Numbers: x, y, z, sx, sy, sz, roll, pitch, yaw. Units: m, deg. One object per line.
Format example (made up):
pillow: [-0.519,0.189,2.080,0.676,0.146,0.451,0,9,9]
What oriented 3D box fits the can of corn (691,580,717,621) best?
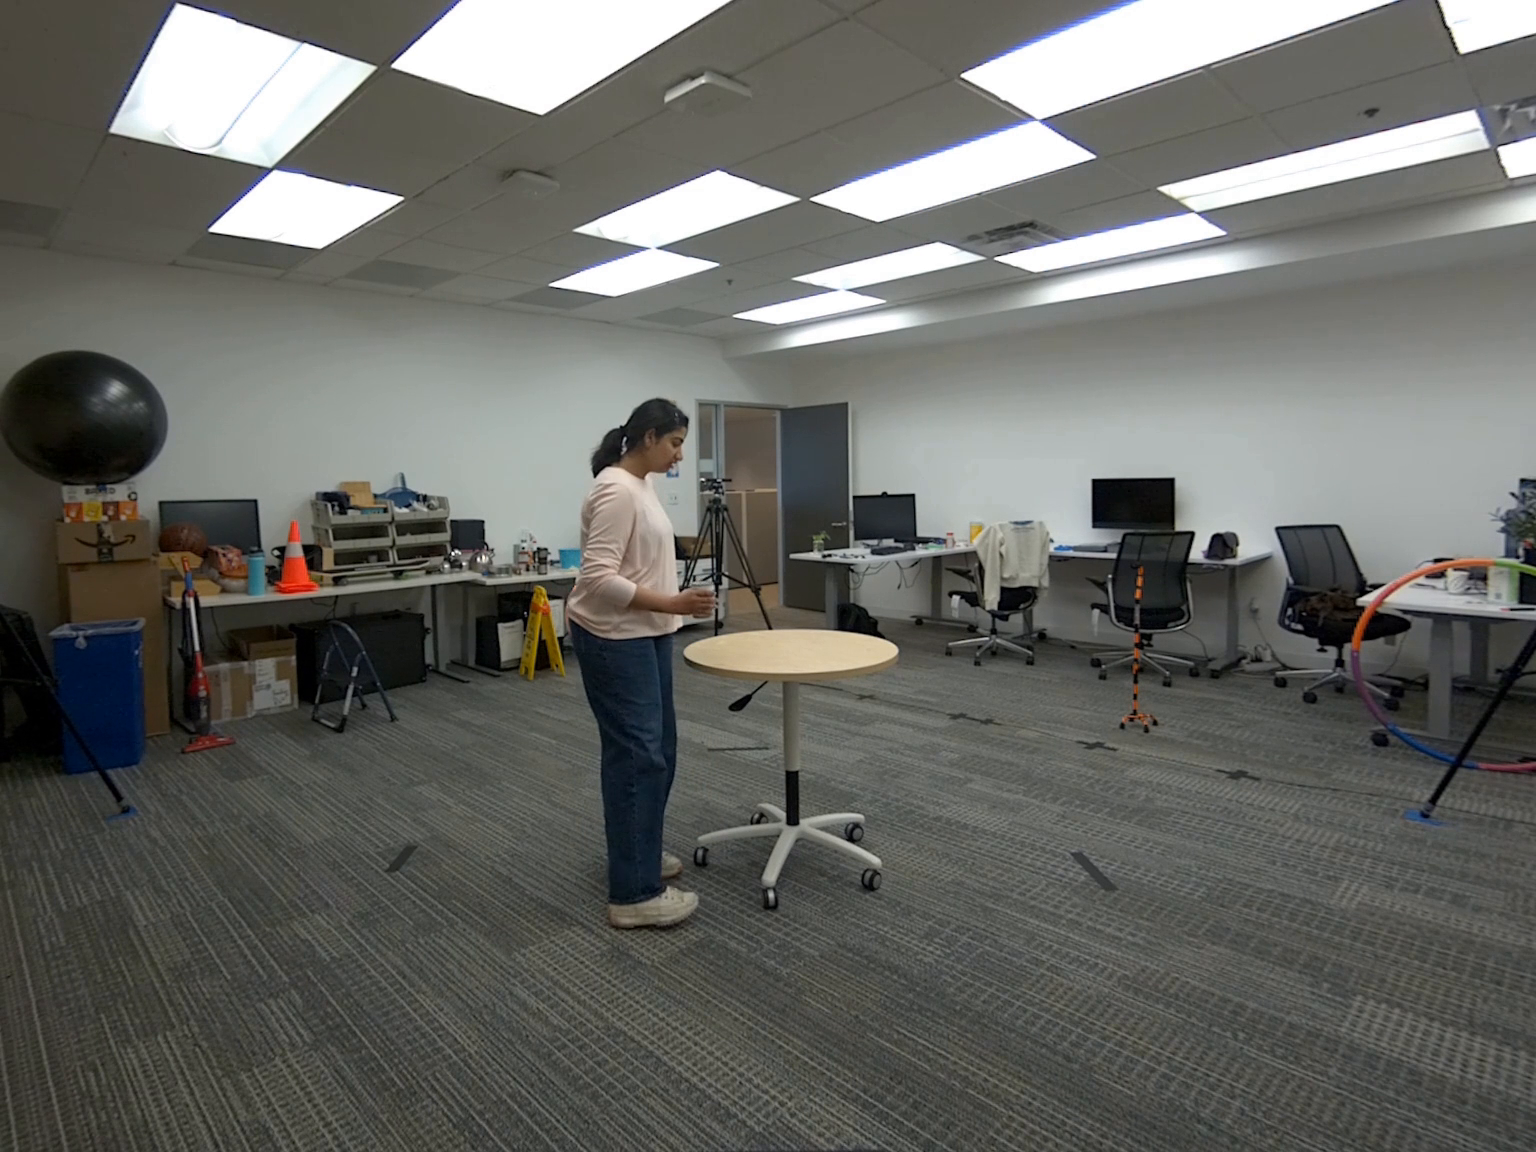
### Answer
can of corn: [-0.210,0.078,2.796,0.074,0.110,0.075,-2,10,-1]
